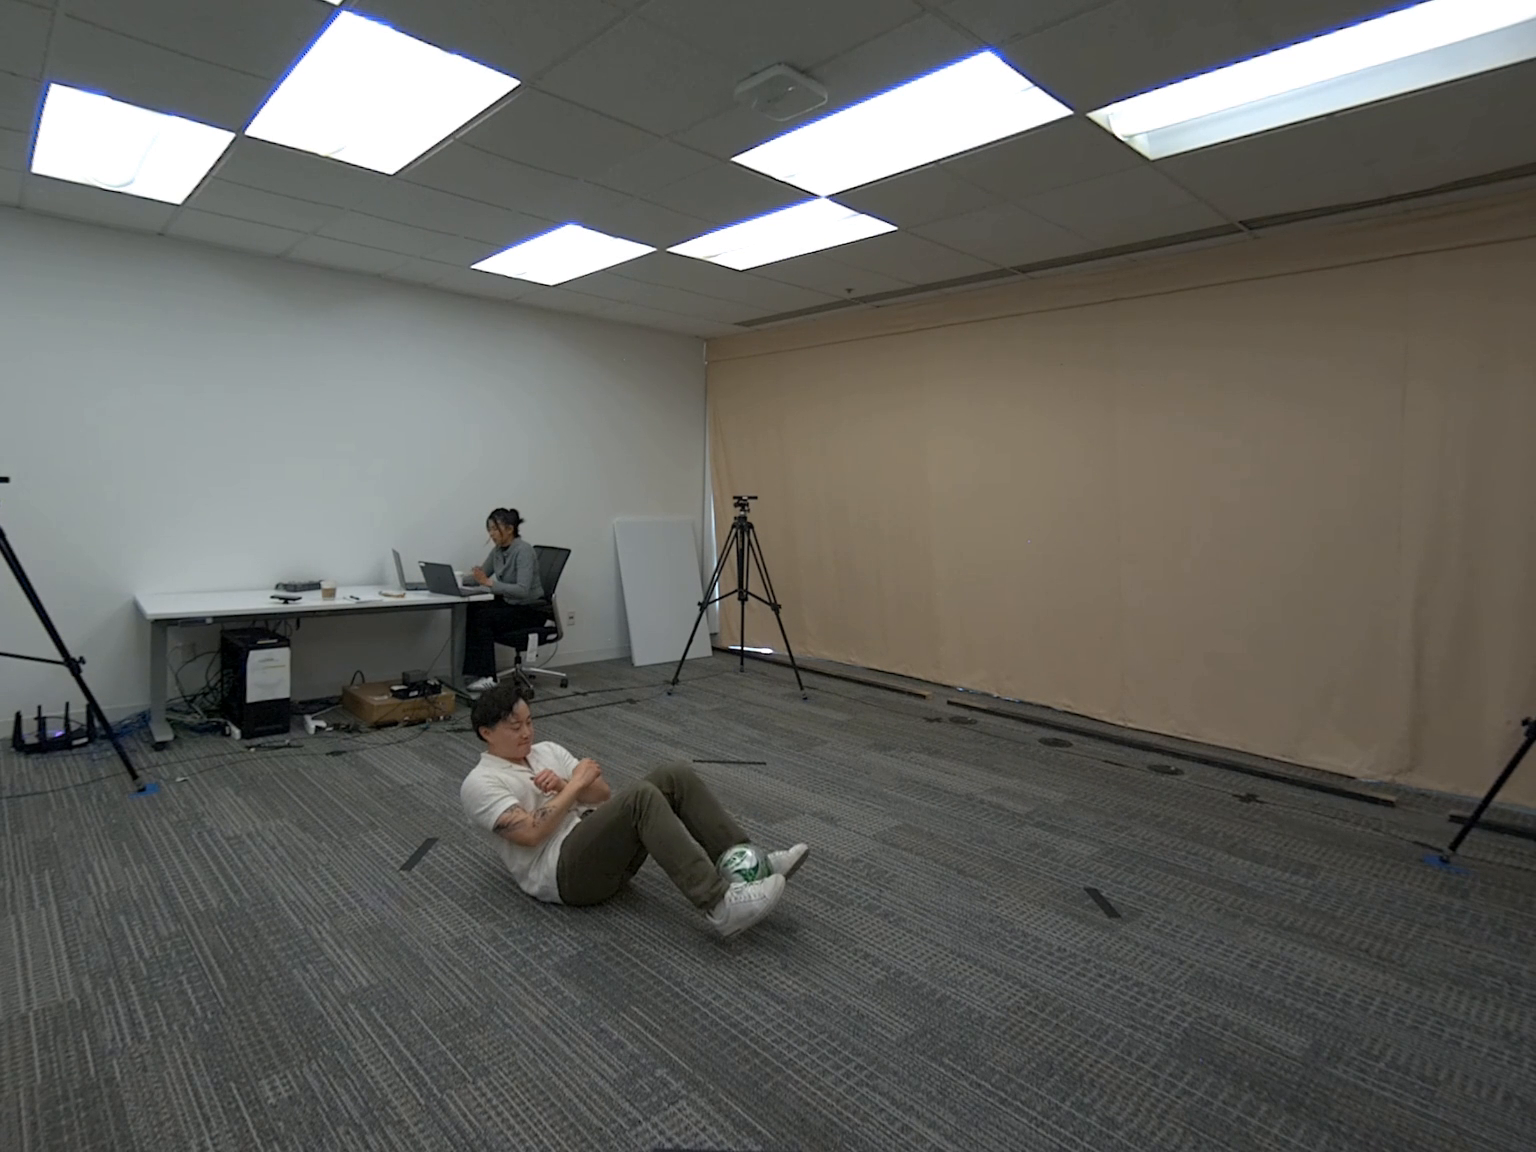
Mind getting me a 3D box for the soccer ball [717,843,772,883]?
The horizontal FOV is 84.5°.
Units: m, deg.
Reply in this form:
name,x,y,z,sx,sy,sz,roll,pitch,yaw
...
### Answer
name,x,y,z,sx,sy,sz,roll,pitch,yaw
soccer ball,-0.097,0.954,2.671,0.187,0.187,0.188,1,4,-1
